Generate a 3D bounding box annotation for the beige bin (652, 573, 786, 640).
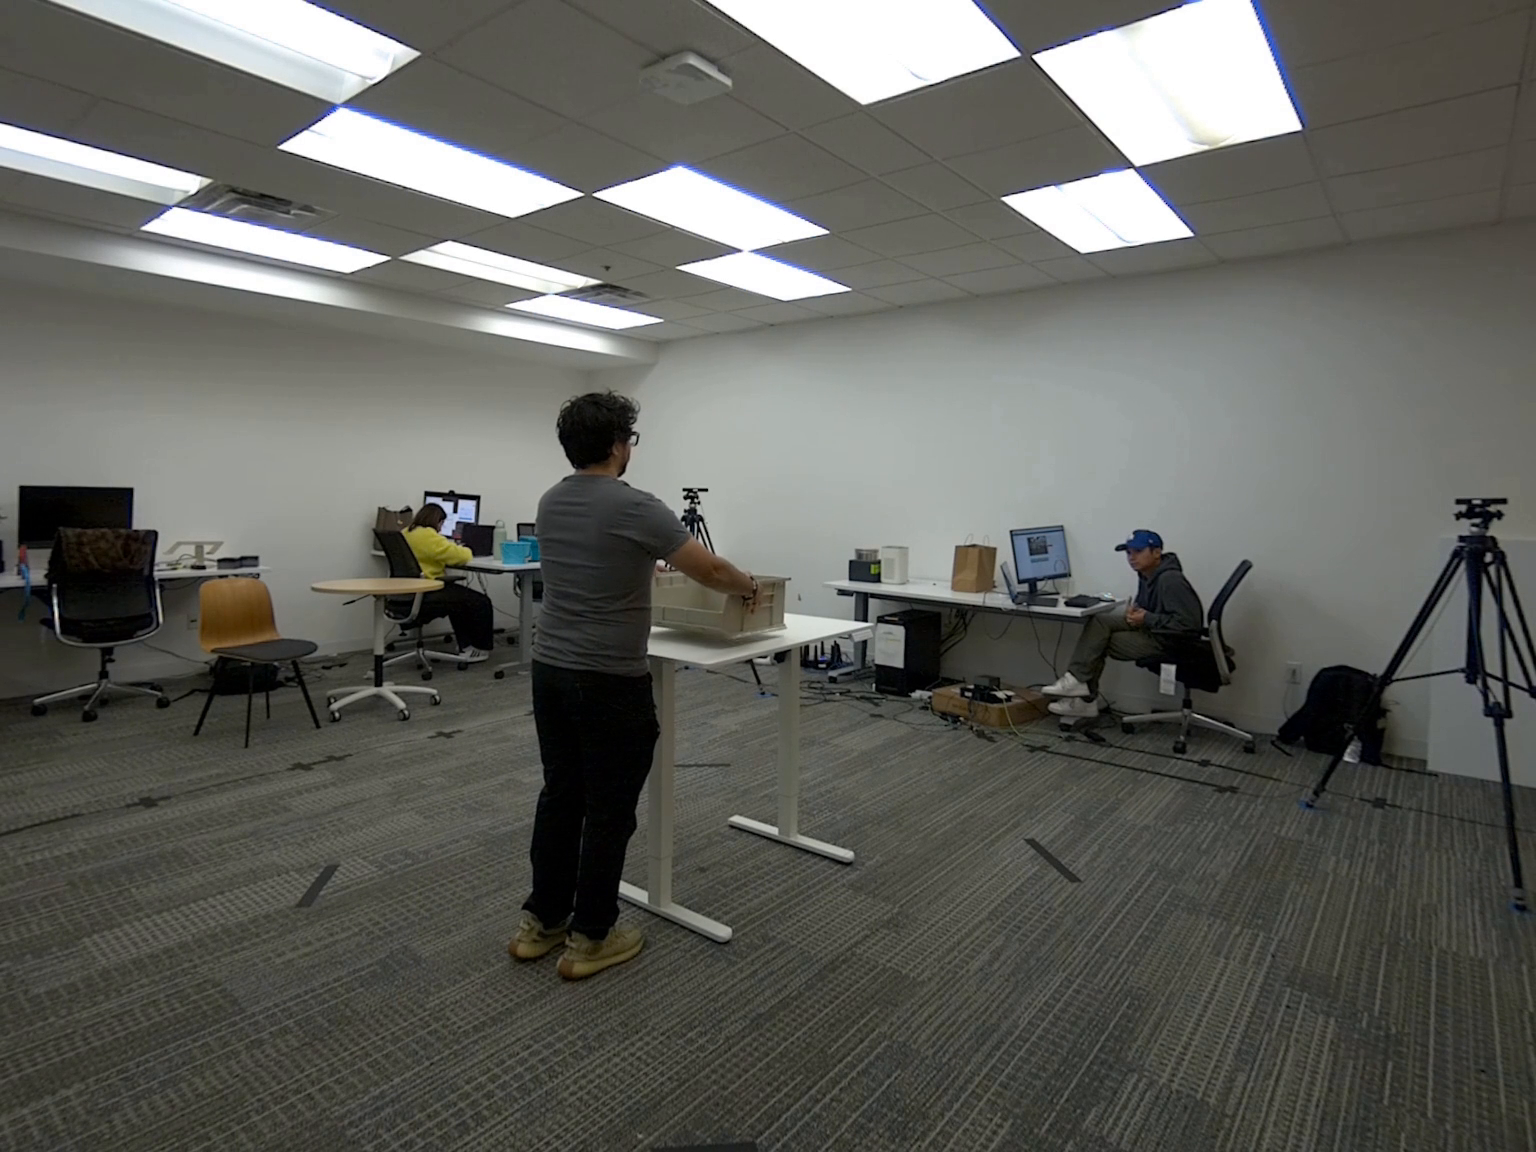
[{"bbox_3d":[-0.208,0.082,2.936,0.436,0.189,0.366,3,3,37],"label":"beige bin"}]
